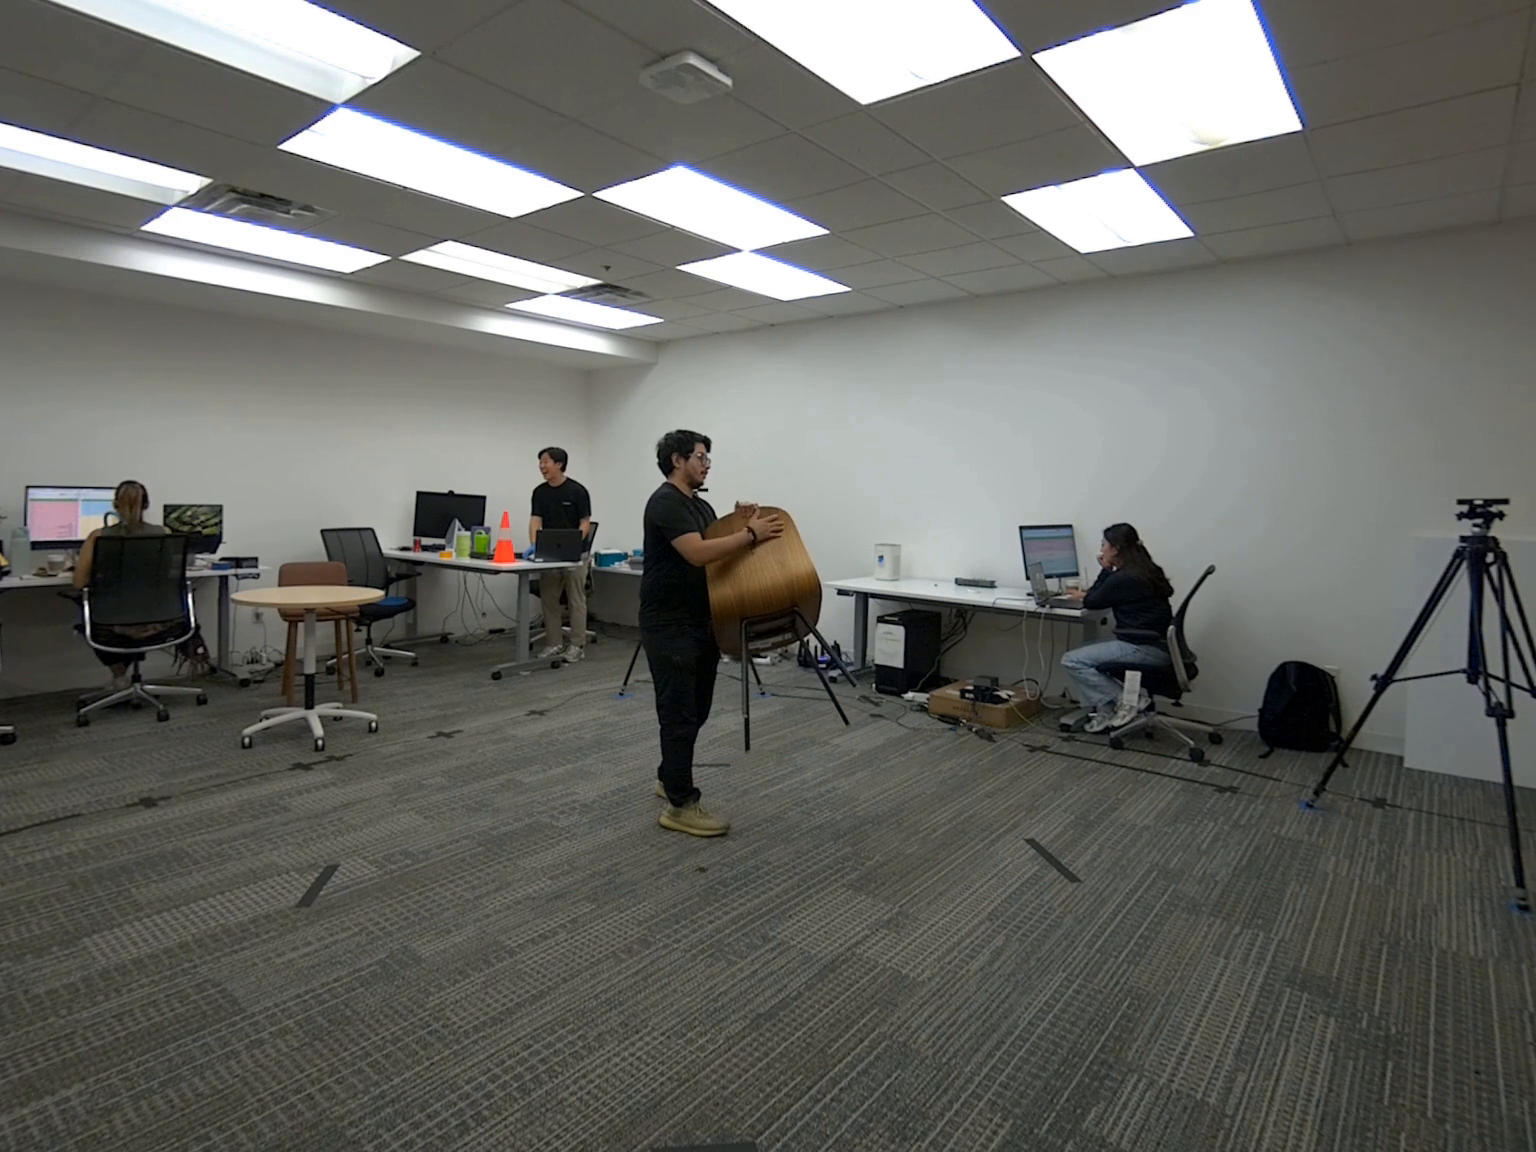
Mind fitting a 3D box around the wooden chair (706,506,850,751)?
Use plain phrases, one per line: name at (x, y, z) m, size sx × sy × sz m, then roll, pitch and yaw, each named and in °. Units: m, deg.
wooden chair at (0.003, 0.214, 3.573) m, size 0.476 × 0.903 × 0.510 m, roll -14°, pitch -26°, yaw -6°
